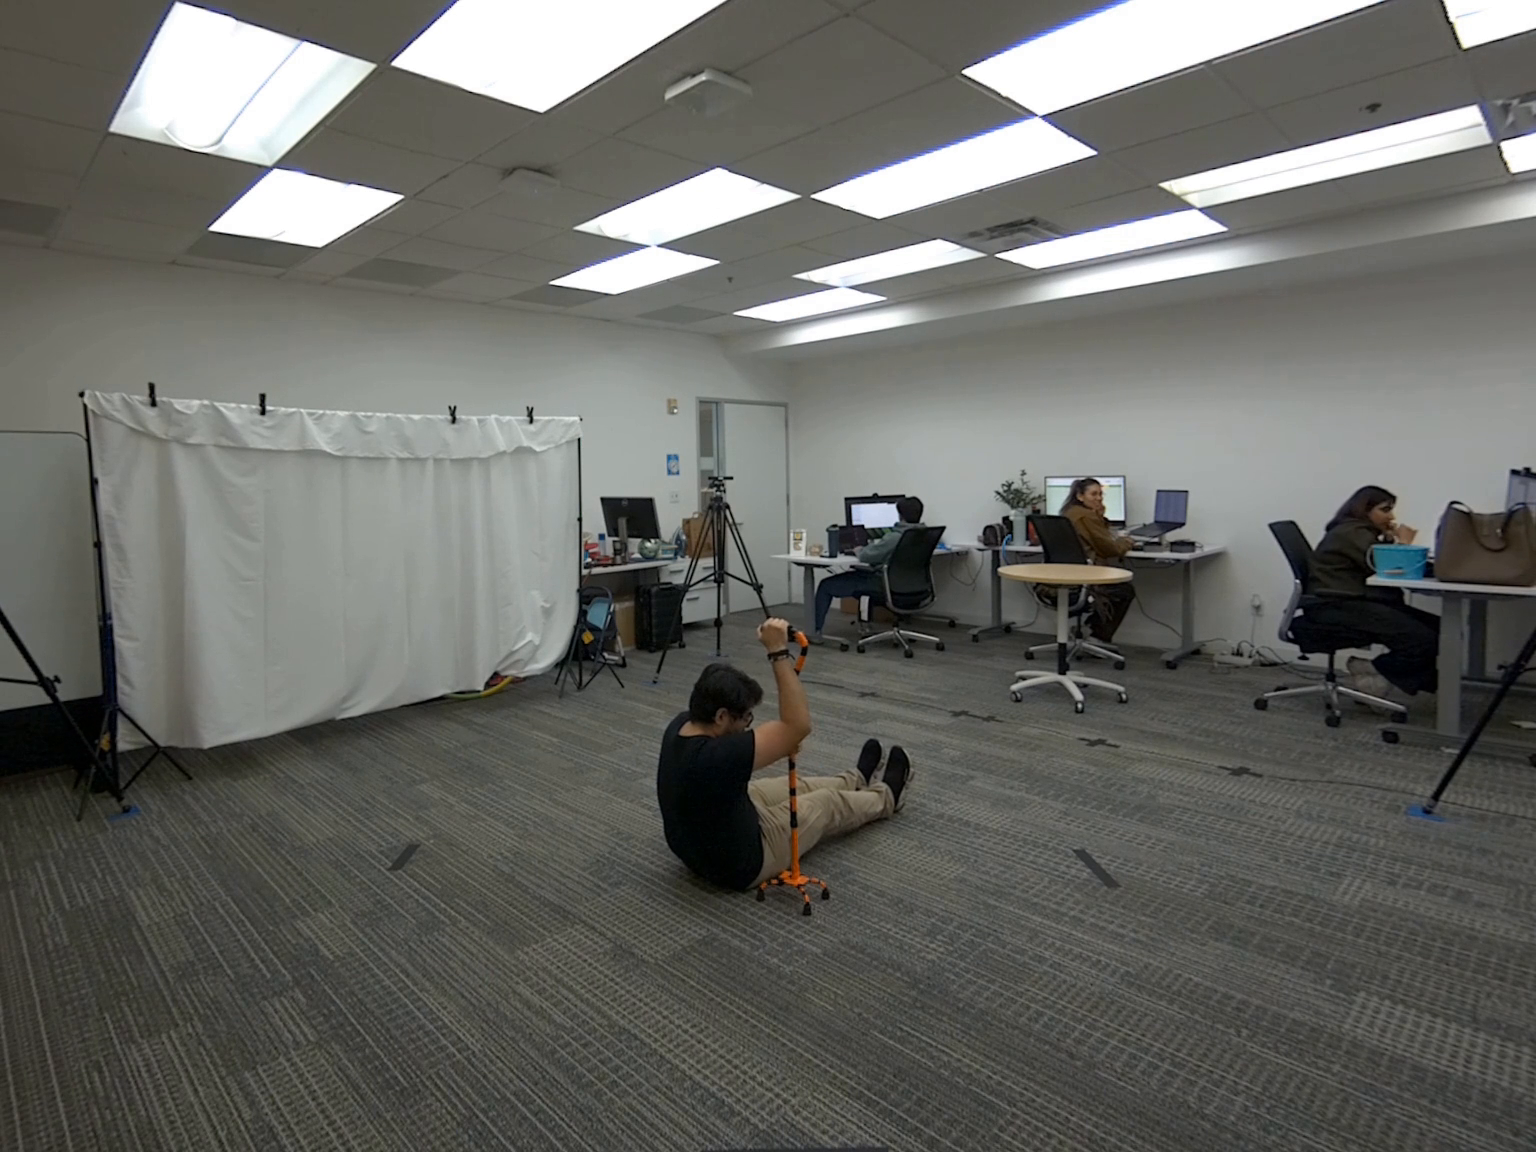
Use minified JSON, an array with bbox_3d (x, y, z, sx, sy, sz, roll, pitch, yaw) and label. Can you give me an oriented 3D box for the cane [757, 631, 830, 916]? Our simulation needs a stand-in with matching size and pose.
[{"bbox_3d":[0.076,0.618,2.787,0.212,0.904,0.148,2,5,33],"label":"cane"}]
